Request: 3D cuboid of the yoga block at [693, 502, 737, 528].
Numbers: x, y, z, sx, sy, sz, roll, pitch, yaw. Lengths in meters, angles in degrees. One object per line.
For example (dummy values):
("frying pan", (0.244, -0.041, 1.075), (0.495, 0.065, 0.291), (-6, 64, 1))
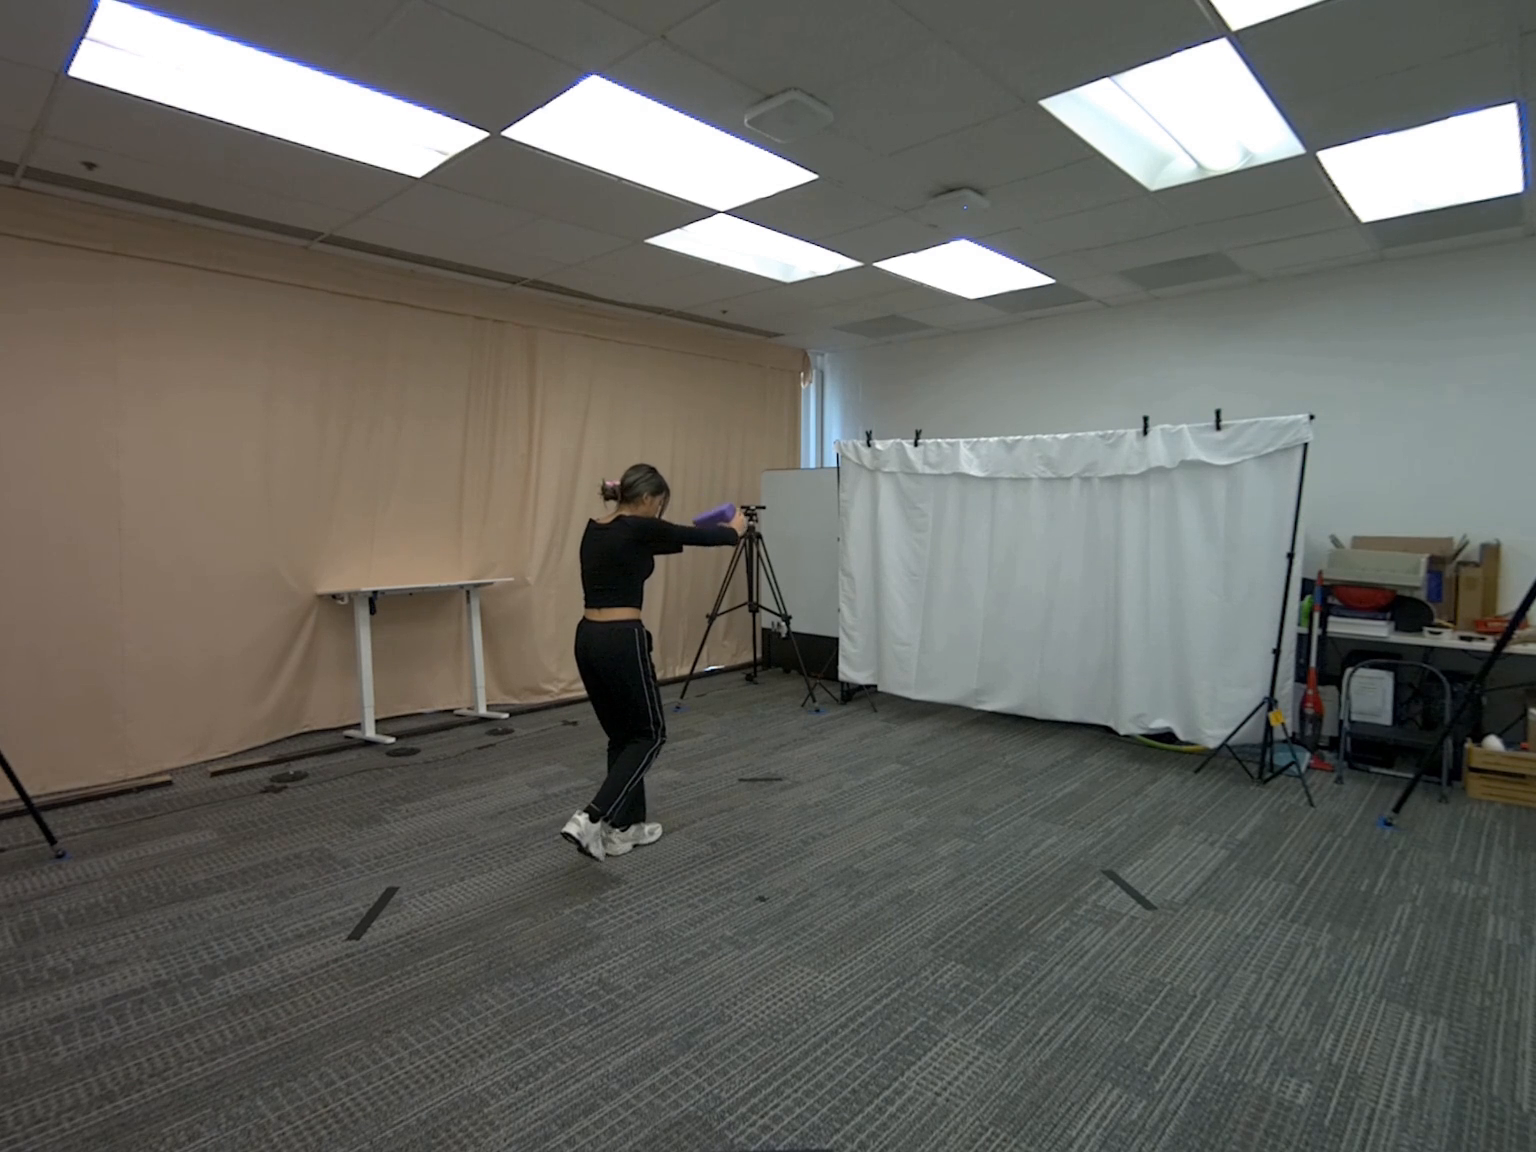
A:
("yoga block", (-0.218, -0.214, 3.757), (0.235, 0.146, 0.076), (-18, 23, 45))
